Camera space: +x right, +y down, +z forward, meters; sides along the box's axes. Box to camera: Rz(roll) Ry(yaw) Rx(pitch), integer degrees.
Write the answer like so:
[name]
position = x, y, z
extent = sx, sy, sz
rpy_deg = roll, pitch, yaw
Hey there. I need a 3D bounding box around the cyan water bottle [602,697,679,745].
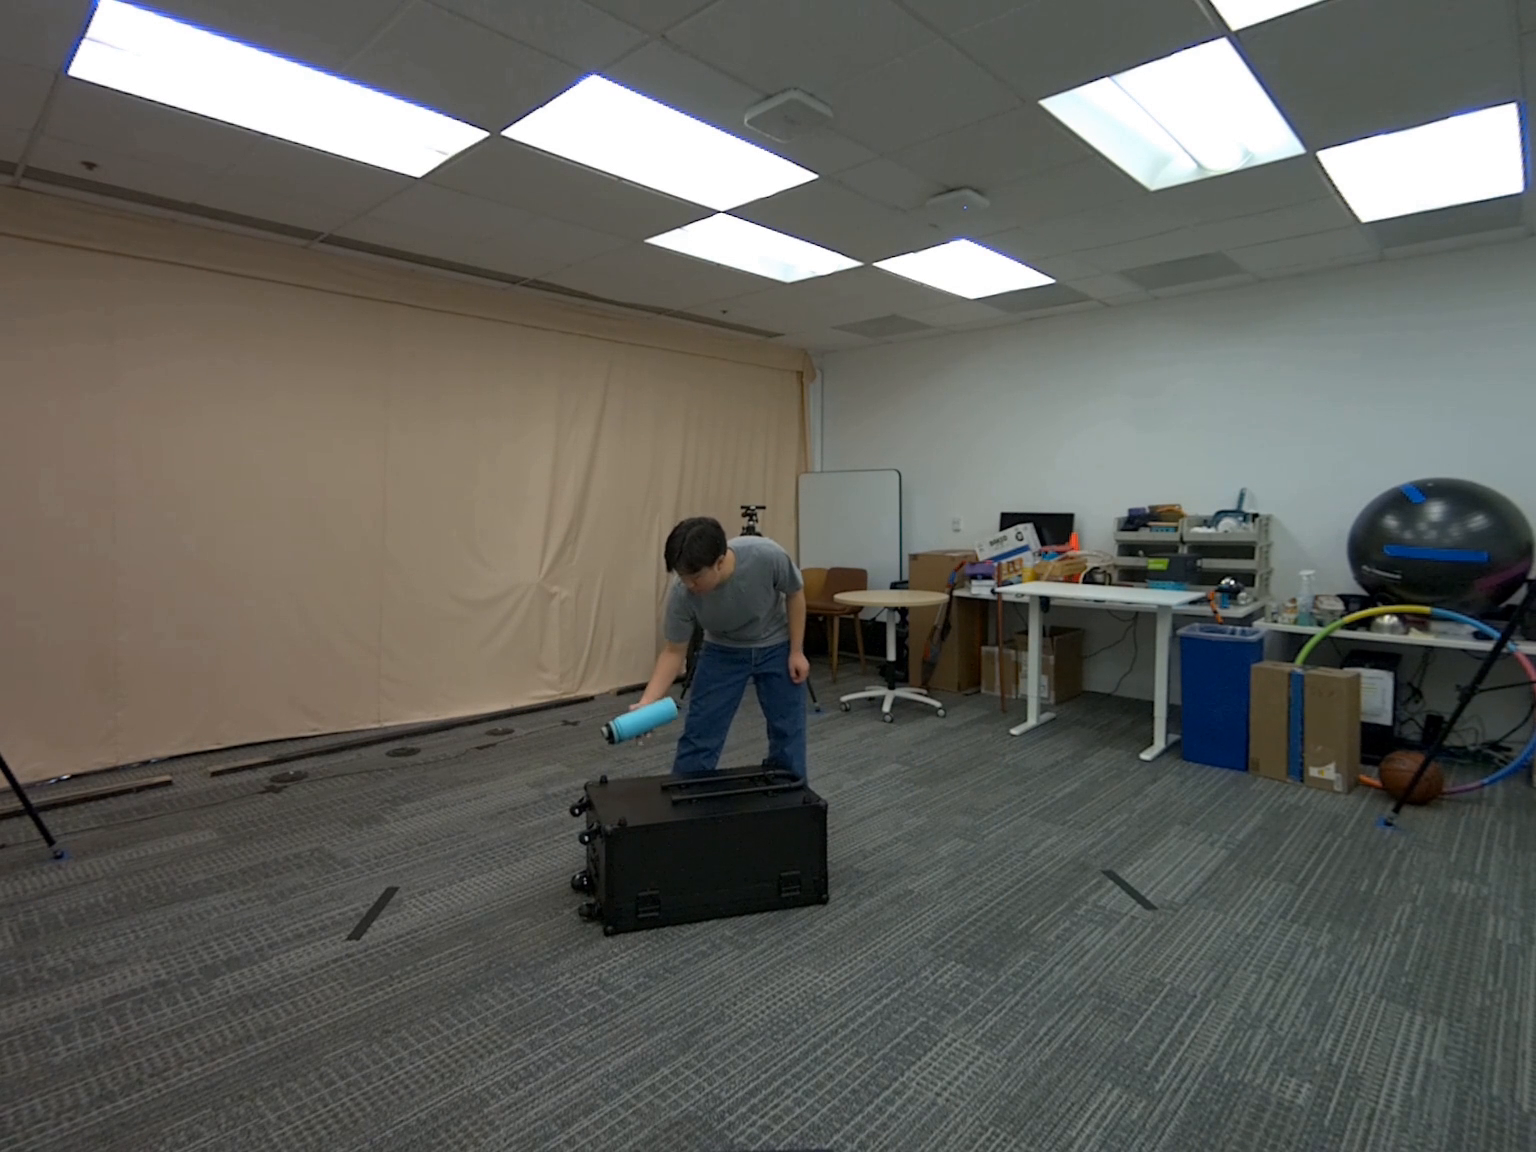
[cyan water bottle]
position = -0.472, 0.531, 3.079
extent = 0.279, 0.091, 0.094
rpy_deg = -20, 11, -20
